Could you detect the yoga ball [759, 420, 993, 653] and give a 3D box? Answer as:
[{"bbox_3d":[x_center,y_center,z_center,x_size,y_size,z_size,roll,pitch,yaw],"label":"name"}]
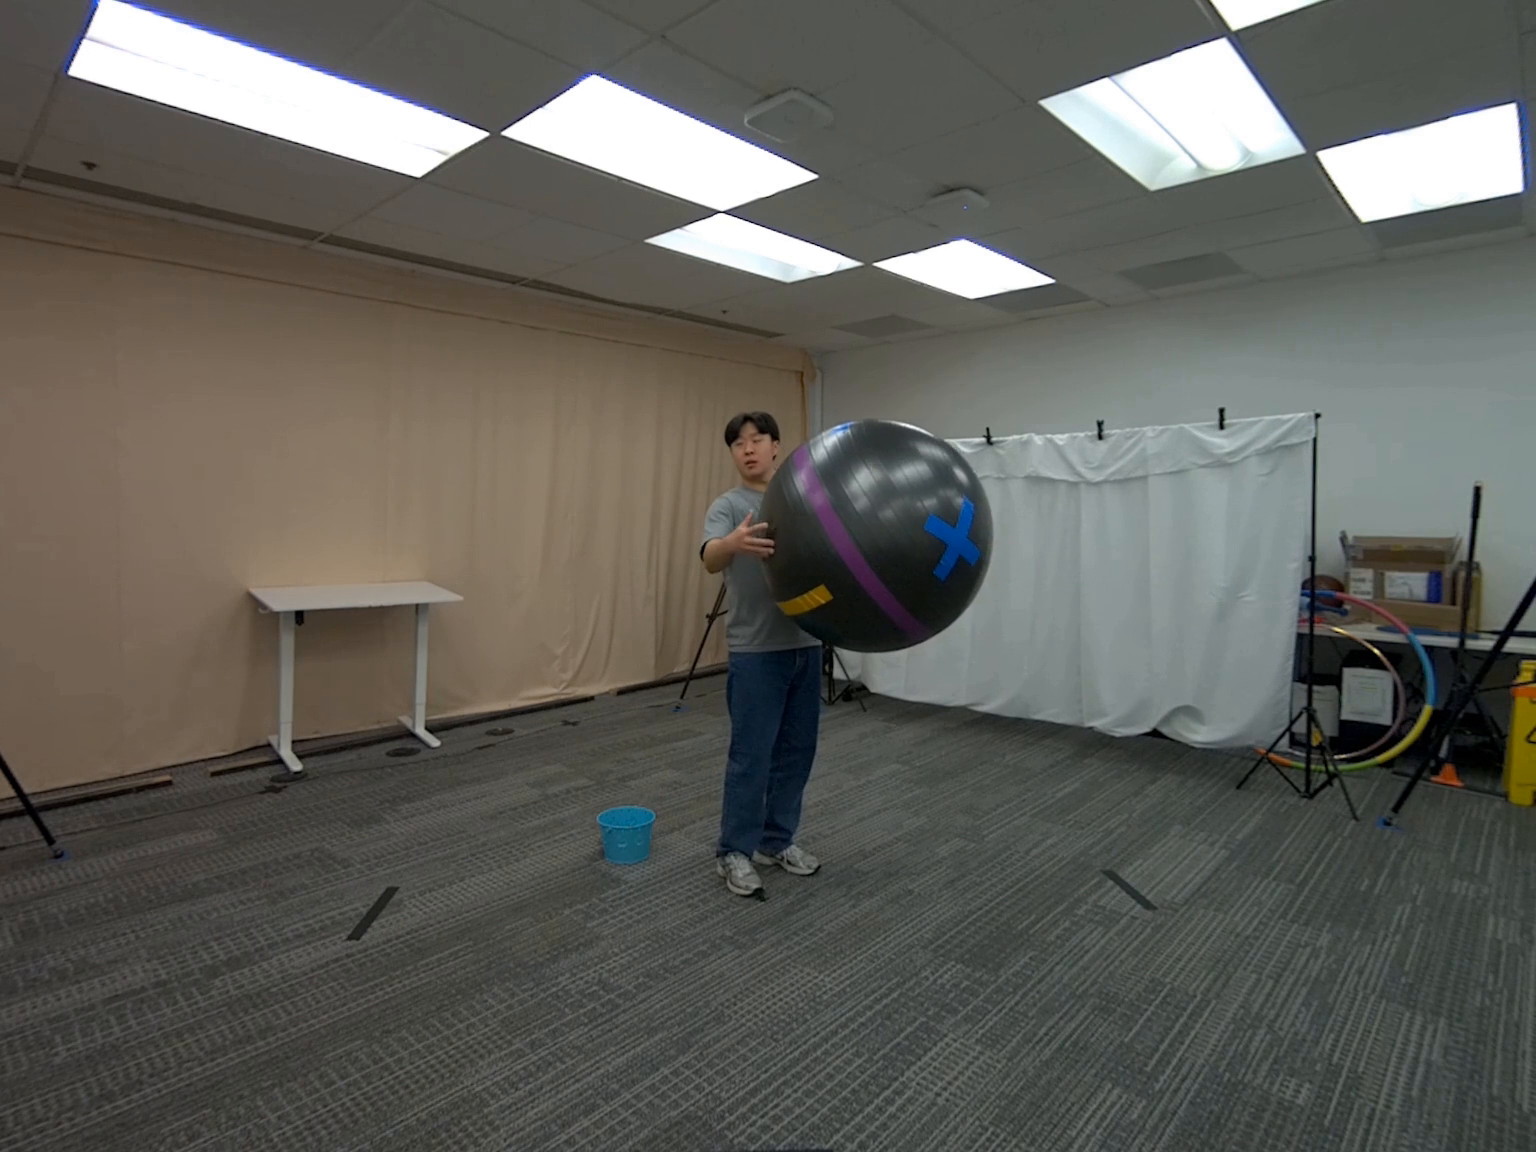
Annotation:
[{"bbox_3d":[0.347,-0.121,2.756,0.757,0.756,0.761,0,4,-2],"label":"yoga ball"}]
